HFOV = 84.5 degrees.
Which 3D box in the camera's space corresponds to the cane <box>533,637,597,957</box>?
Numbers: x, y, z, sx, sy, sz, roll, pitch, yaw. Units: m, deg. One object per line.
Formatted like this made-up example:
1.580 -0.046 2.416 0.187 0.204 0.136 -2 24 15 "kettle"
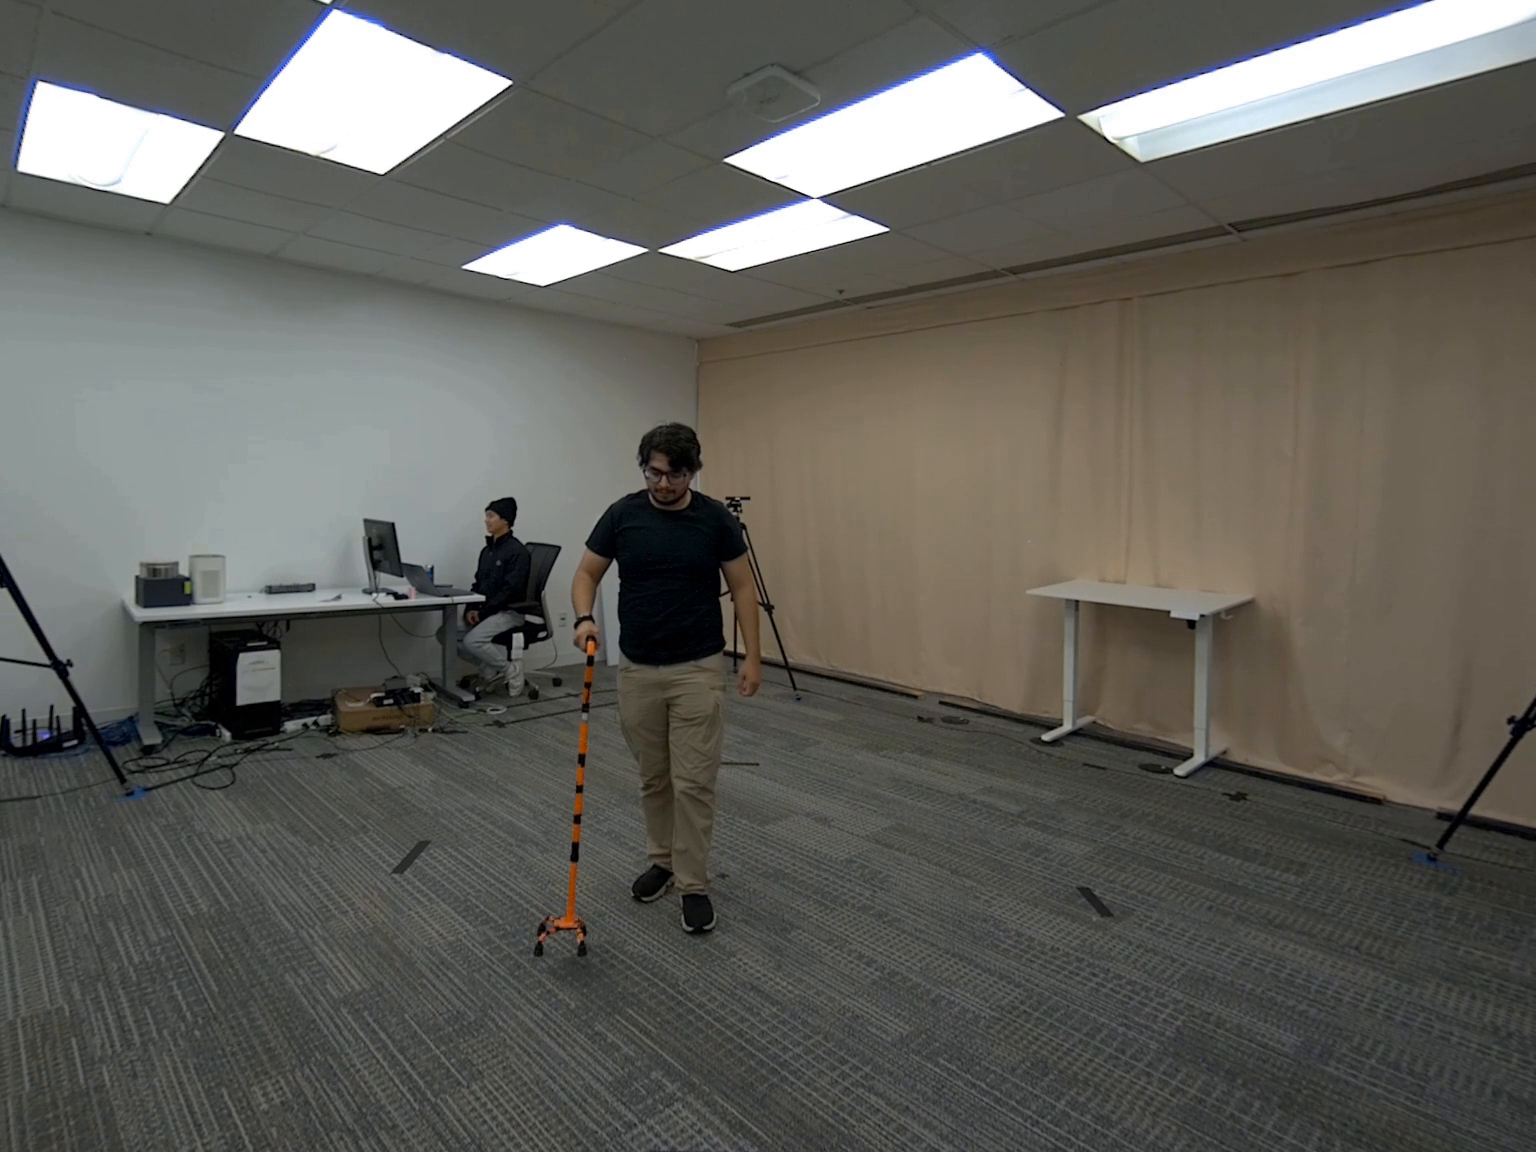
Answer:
-0.601 0.655 2.556 0.150 0.913 0.207 4 -8 -11 "cane"
